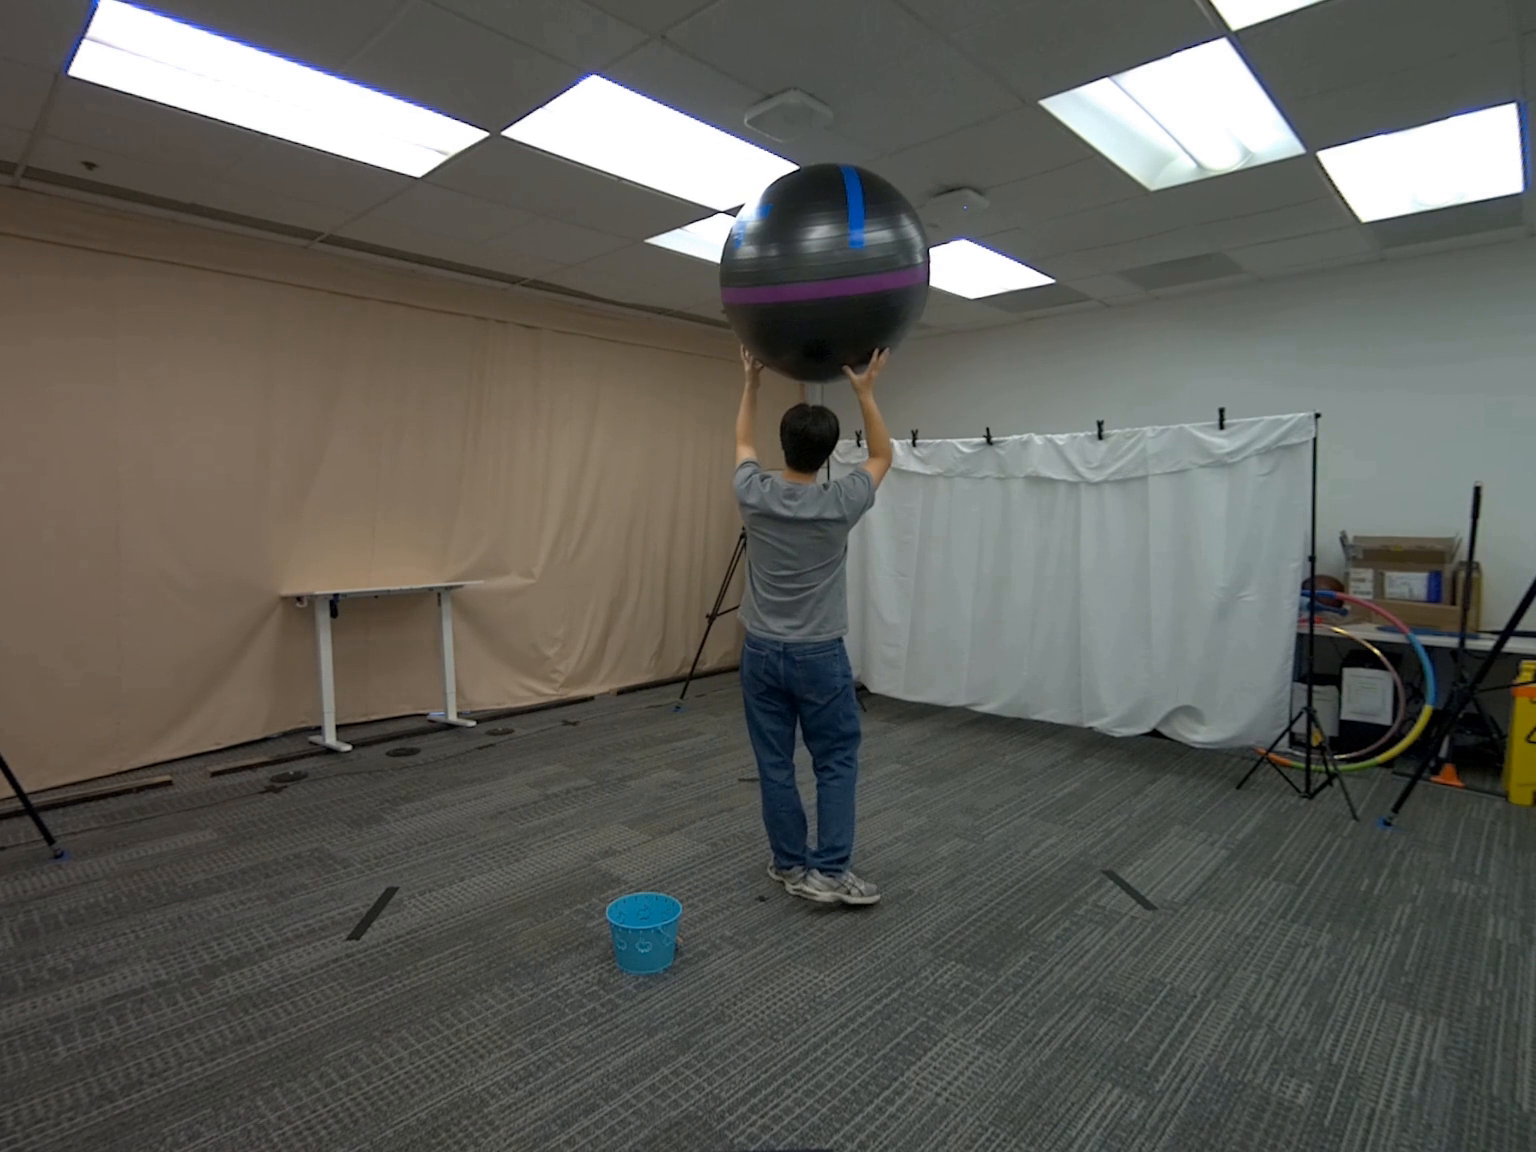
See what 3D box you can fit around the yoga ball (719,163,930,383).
[{"bbox_3d":[0.211,-1.081,3.070,0.757,0.756,0.761,0,4,-2],"label":"yoga ball"}]
